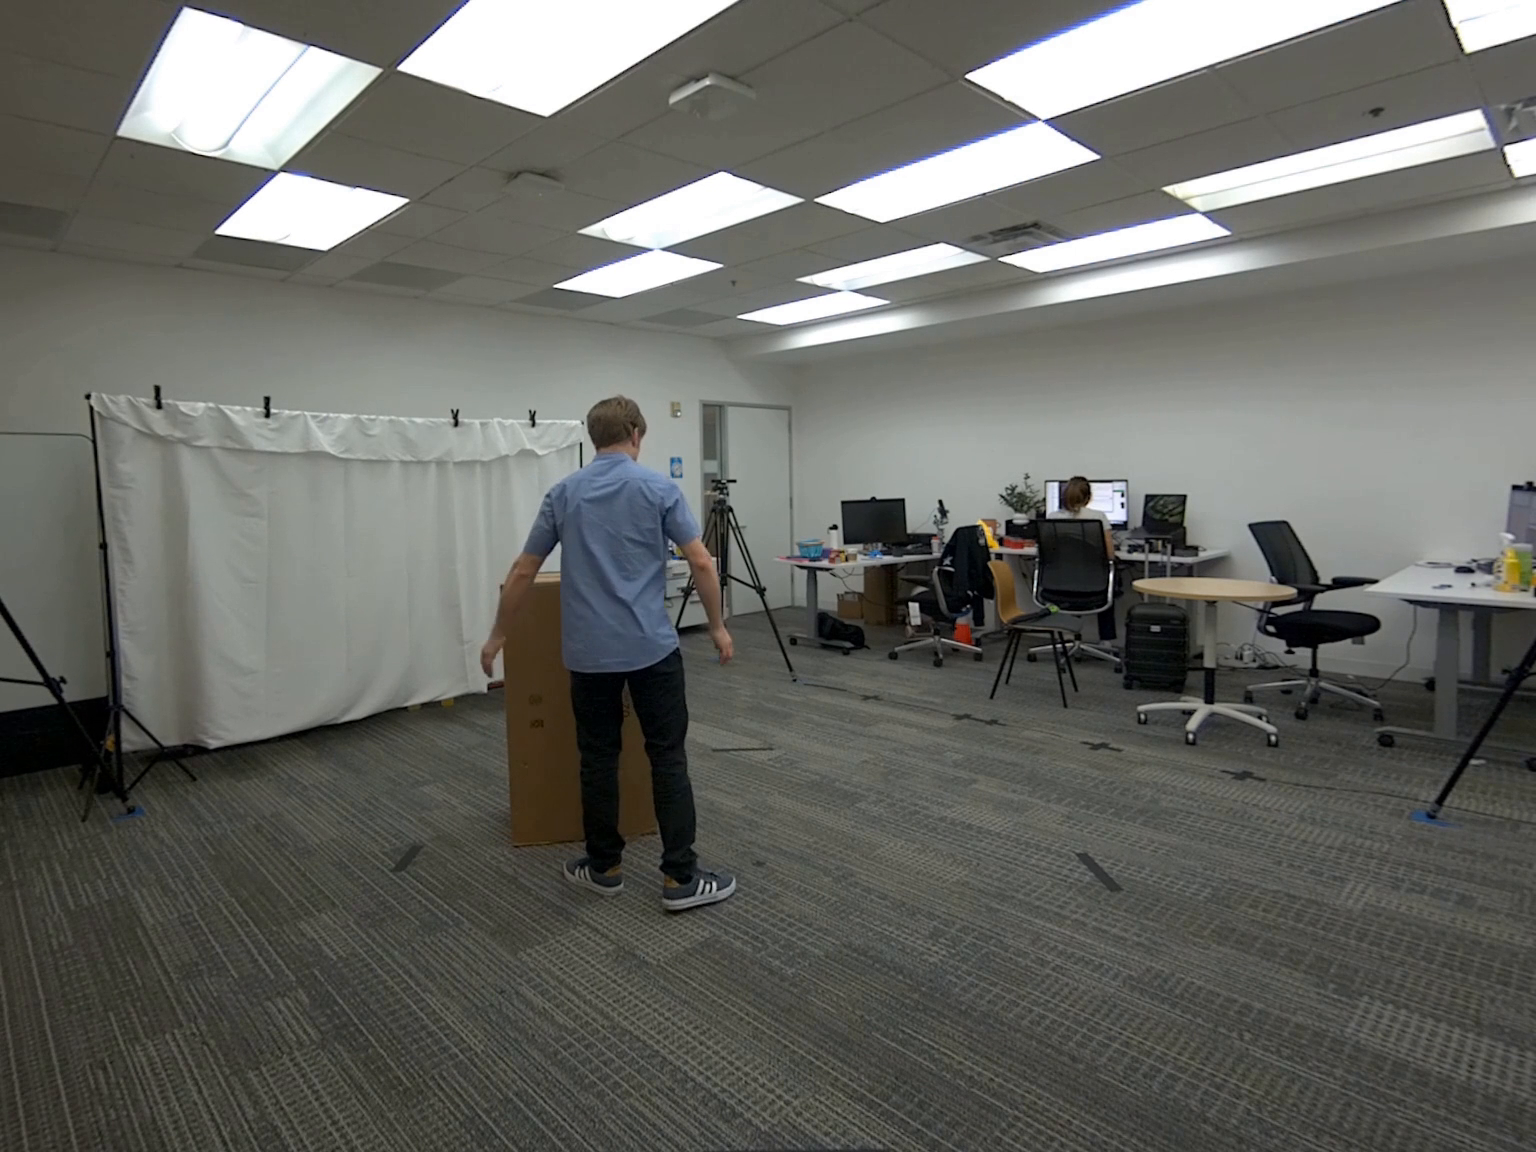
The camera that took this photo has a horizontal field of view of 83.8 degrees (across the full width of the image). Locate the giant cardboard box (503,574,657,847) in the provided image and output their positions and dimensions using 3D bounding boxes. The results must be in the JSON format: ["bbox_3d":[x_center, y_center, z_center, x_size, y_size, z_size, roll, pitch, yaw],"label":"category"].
[{"bbox_3d":[-0.776,0.509,3.522,0.572,1.023,0.432,-2,3,-11],"label":"giant cardboard box"}]
